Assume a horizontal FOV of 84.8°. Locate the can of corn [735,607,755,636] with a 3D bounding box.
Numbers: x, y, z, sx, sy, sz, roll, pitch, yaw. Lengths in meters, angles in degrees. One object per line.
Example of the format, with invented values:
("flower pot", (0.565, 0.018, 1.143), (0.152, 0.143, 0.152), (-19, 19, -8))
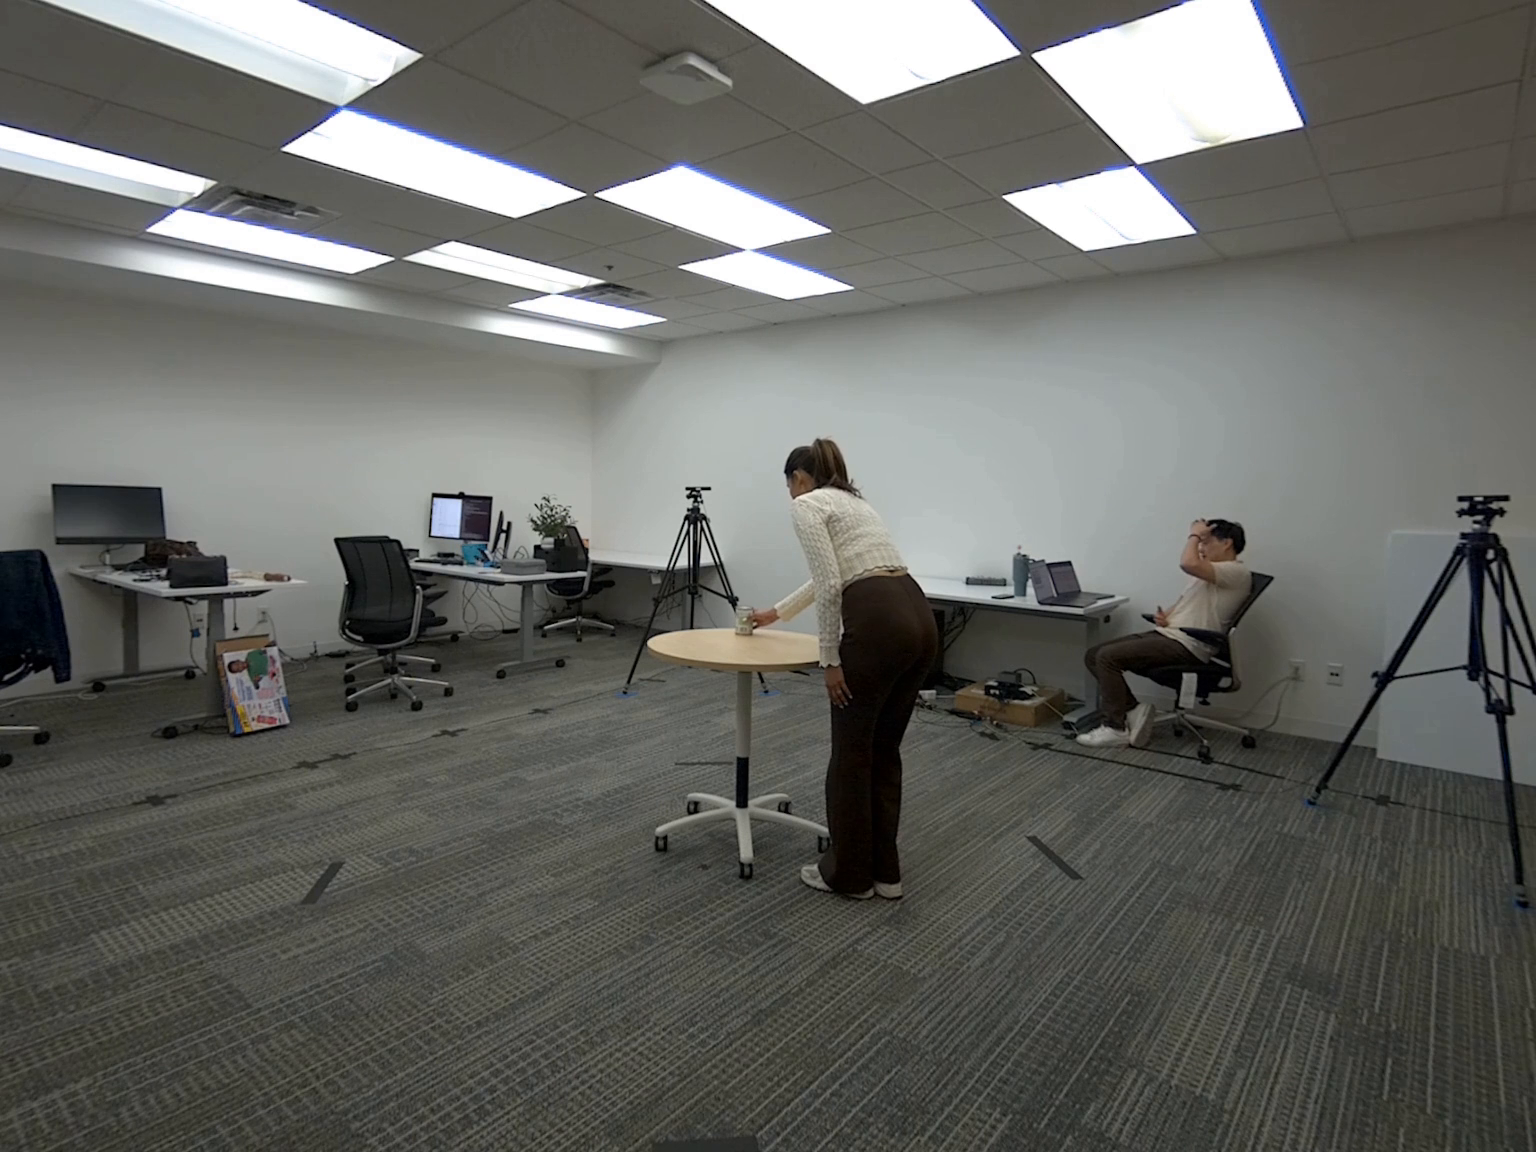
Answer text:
("can of corn", (-0.106, 0.187, 3.555), (0.074, 0.111, 0.074), (4, 2, -2))
